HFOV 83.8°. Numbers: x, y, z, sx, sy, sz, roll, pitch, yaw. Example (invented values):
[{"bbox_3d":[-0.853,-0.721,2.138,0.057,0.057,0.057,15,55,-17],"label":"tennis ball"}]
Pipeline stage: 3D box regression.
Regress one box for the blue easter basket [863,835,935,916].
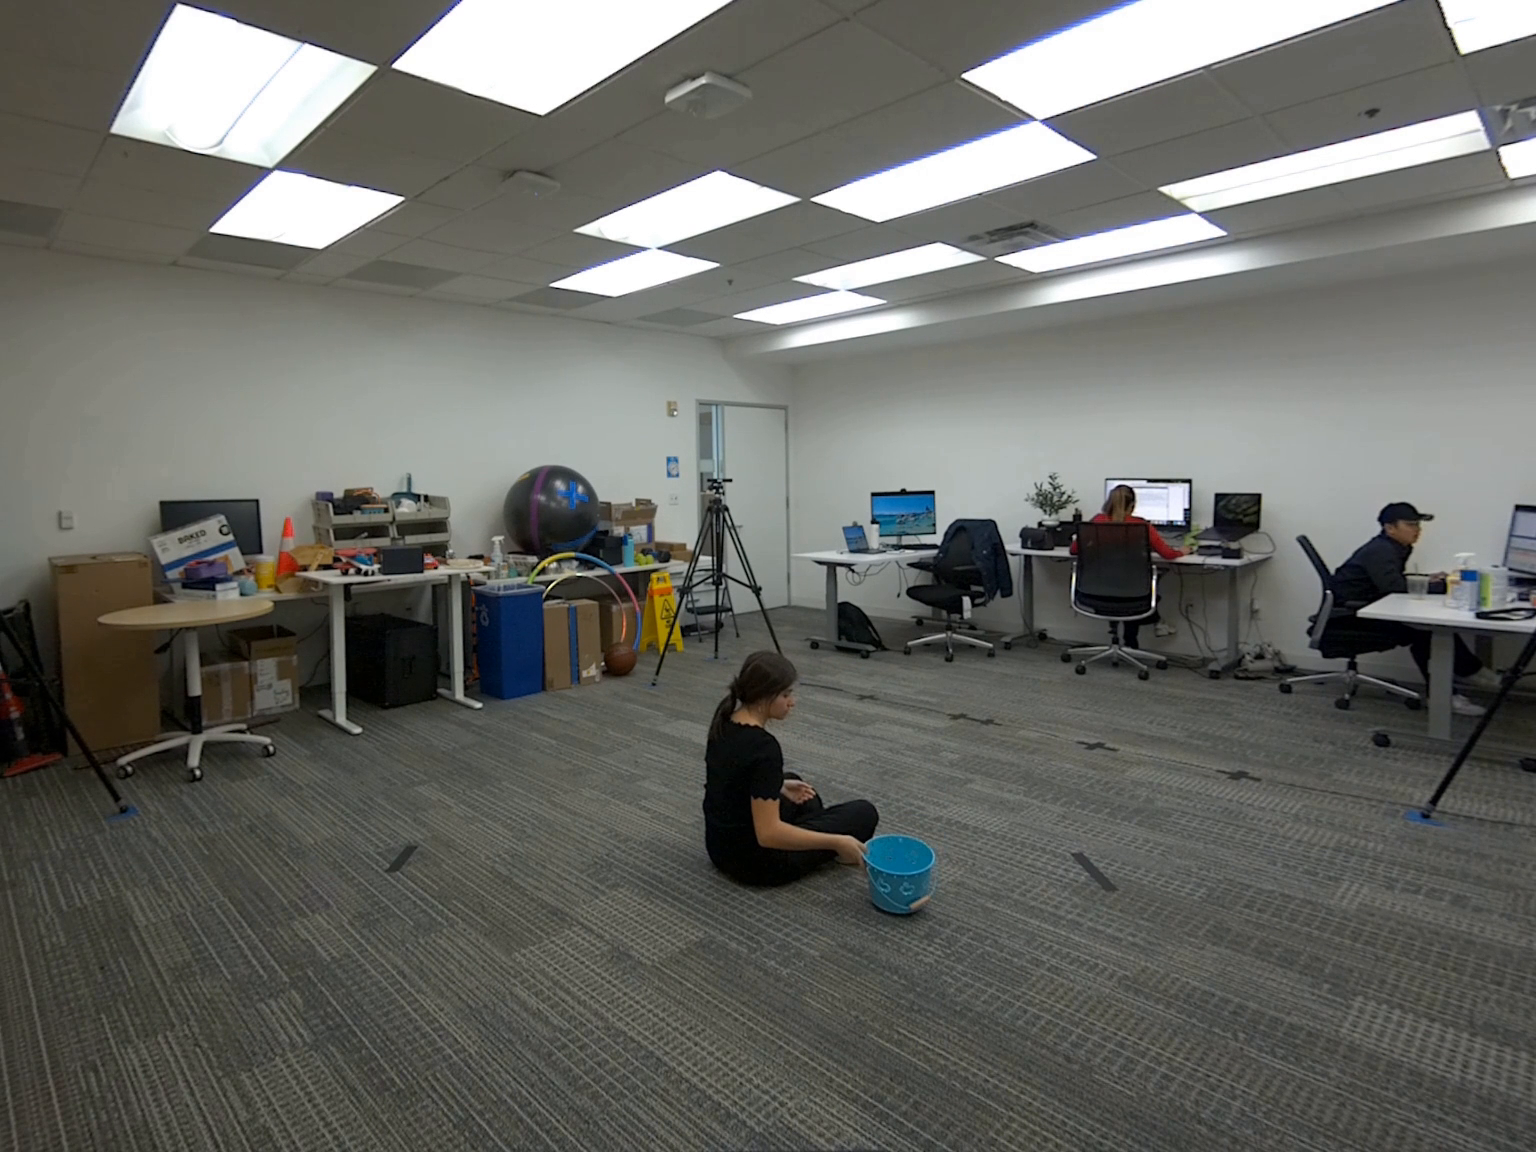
[{"bbox_3d":[0.424,0.968,2.763,0.243,0.154,0.246,-3,12,-1],"label":"blue easter basket"}]
